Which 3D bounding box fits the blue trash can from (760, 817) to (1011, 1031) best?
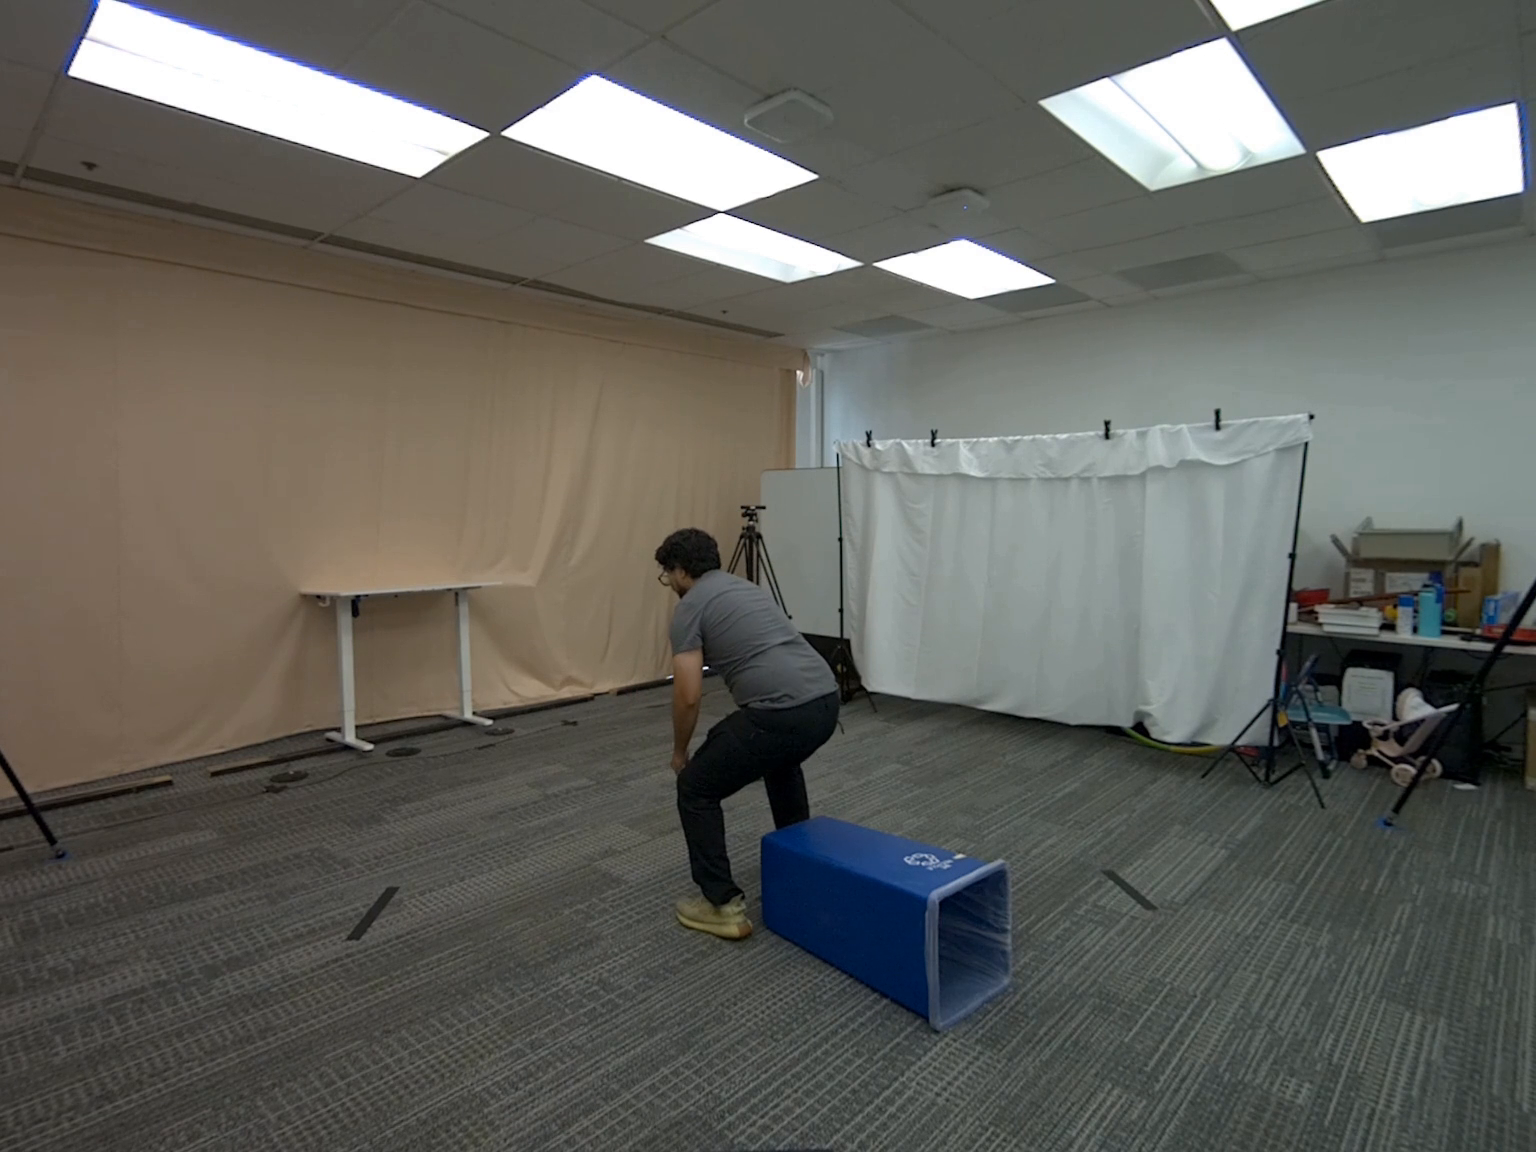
[{"bbox_3d":[0.337,1.000,2.589,0.366,0.373,0.737,-3,3,-42],"label":"blue trash can"}]
